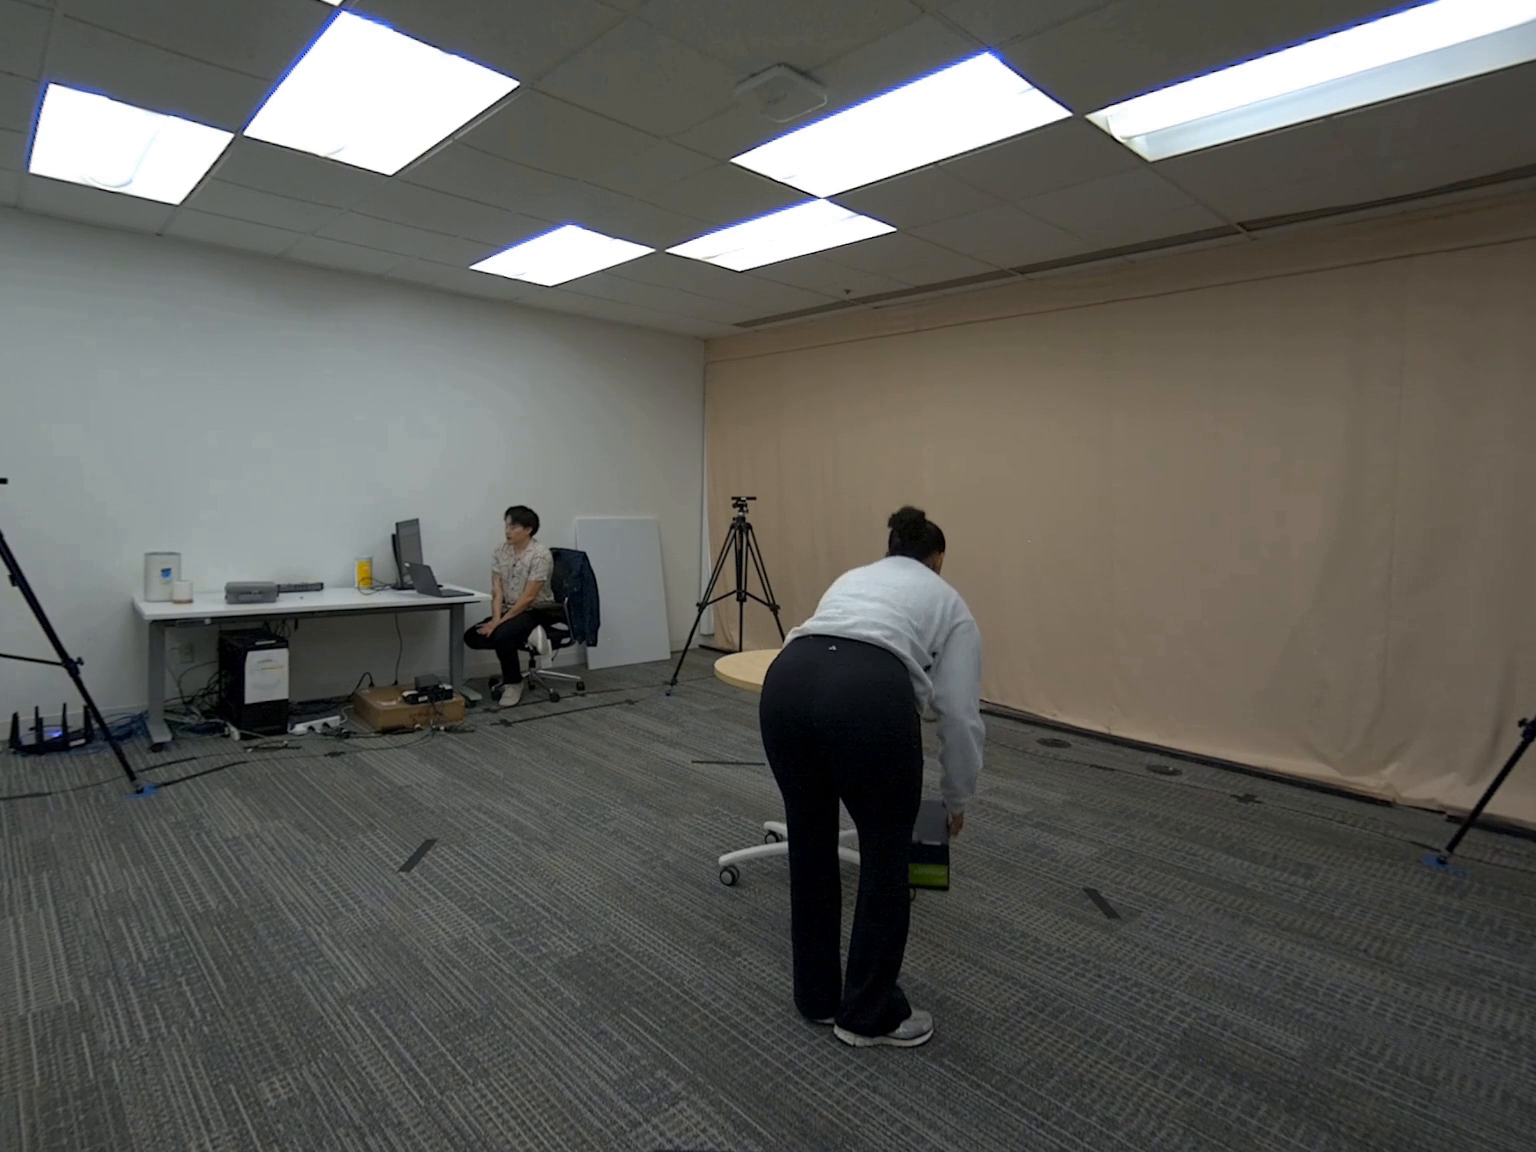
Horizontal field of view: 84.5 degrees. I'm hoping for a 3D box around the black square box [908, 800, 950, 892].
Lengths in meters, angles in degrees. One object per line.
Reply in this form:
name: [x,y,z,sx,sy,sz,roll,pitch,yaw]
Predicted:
black square box: [0.410,0.779,2.445,0.230,0.154,0.217,1,16,12]
